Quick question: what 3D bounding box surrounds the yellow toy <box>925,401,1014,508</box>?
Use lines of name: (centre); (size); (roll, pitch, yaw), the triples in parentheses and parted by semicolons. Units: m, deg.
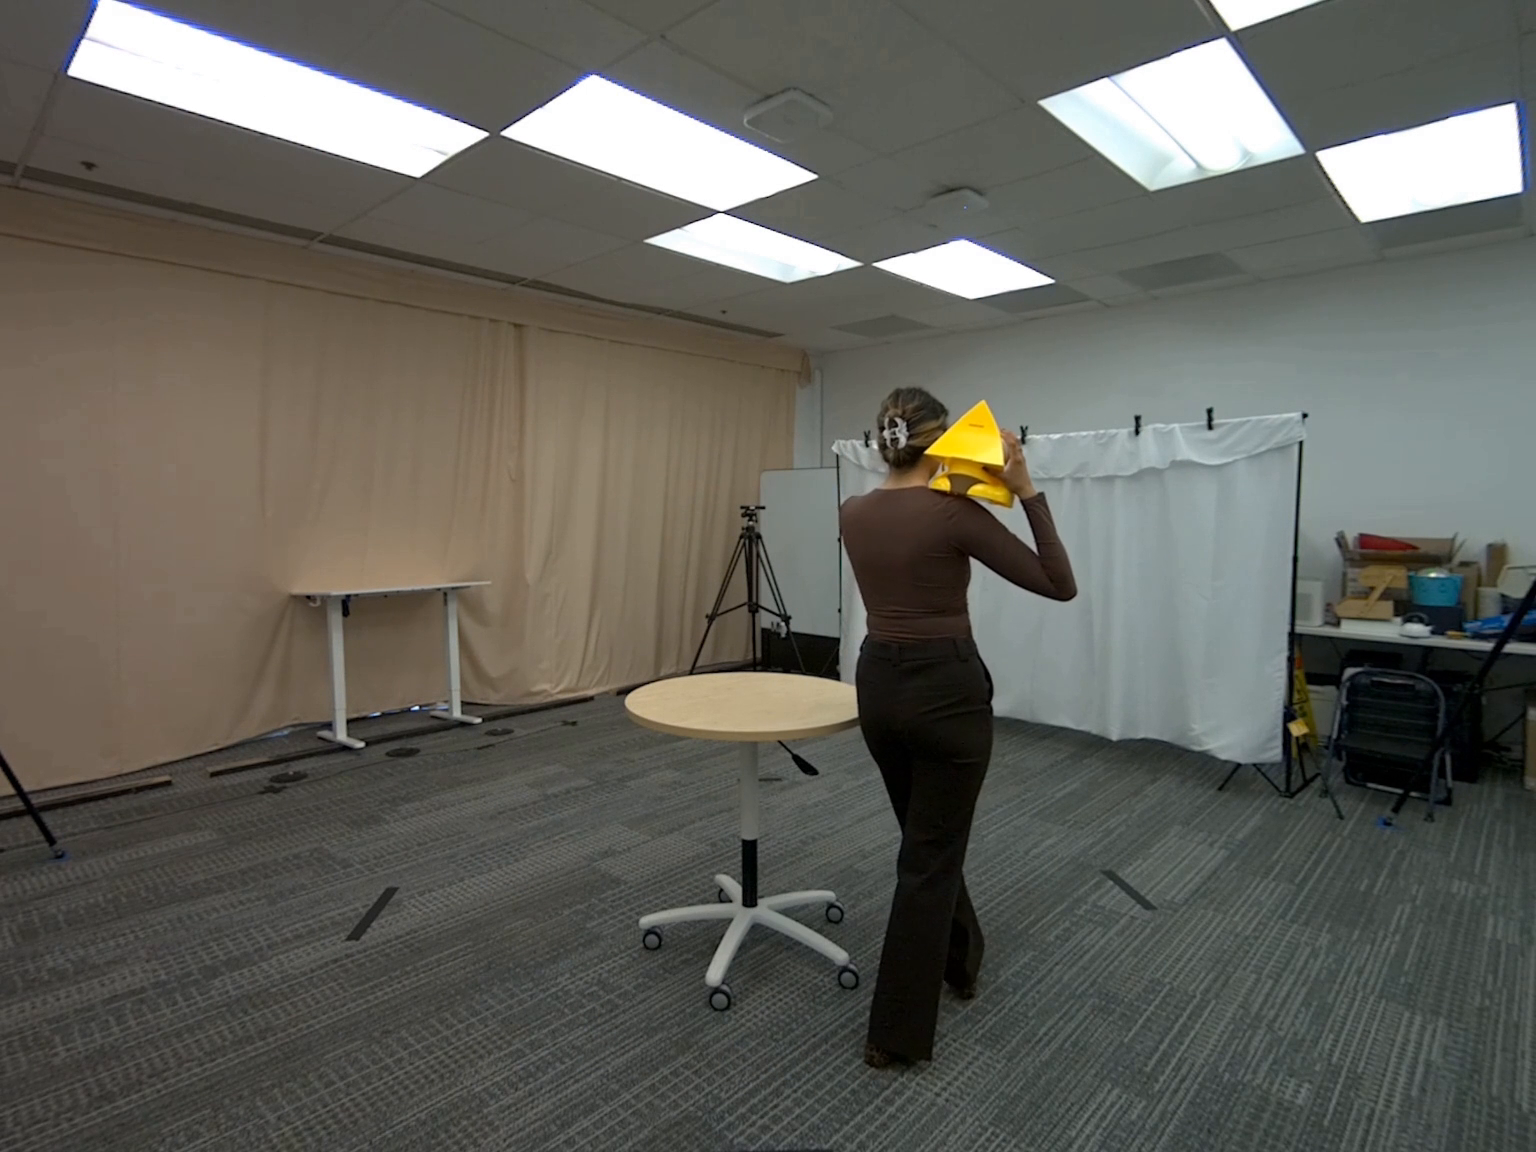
yellow toy: (0.532, -0.307, 2.066); (0.212, 0.230, 0.186); (16, 3, 37)
